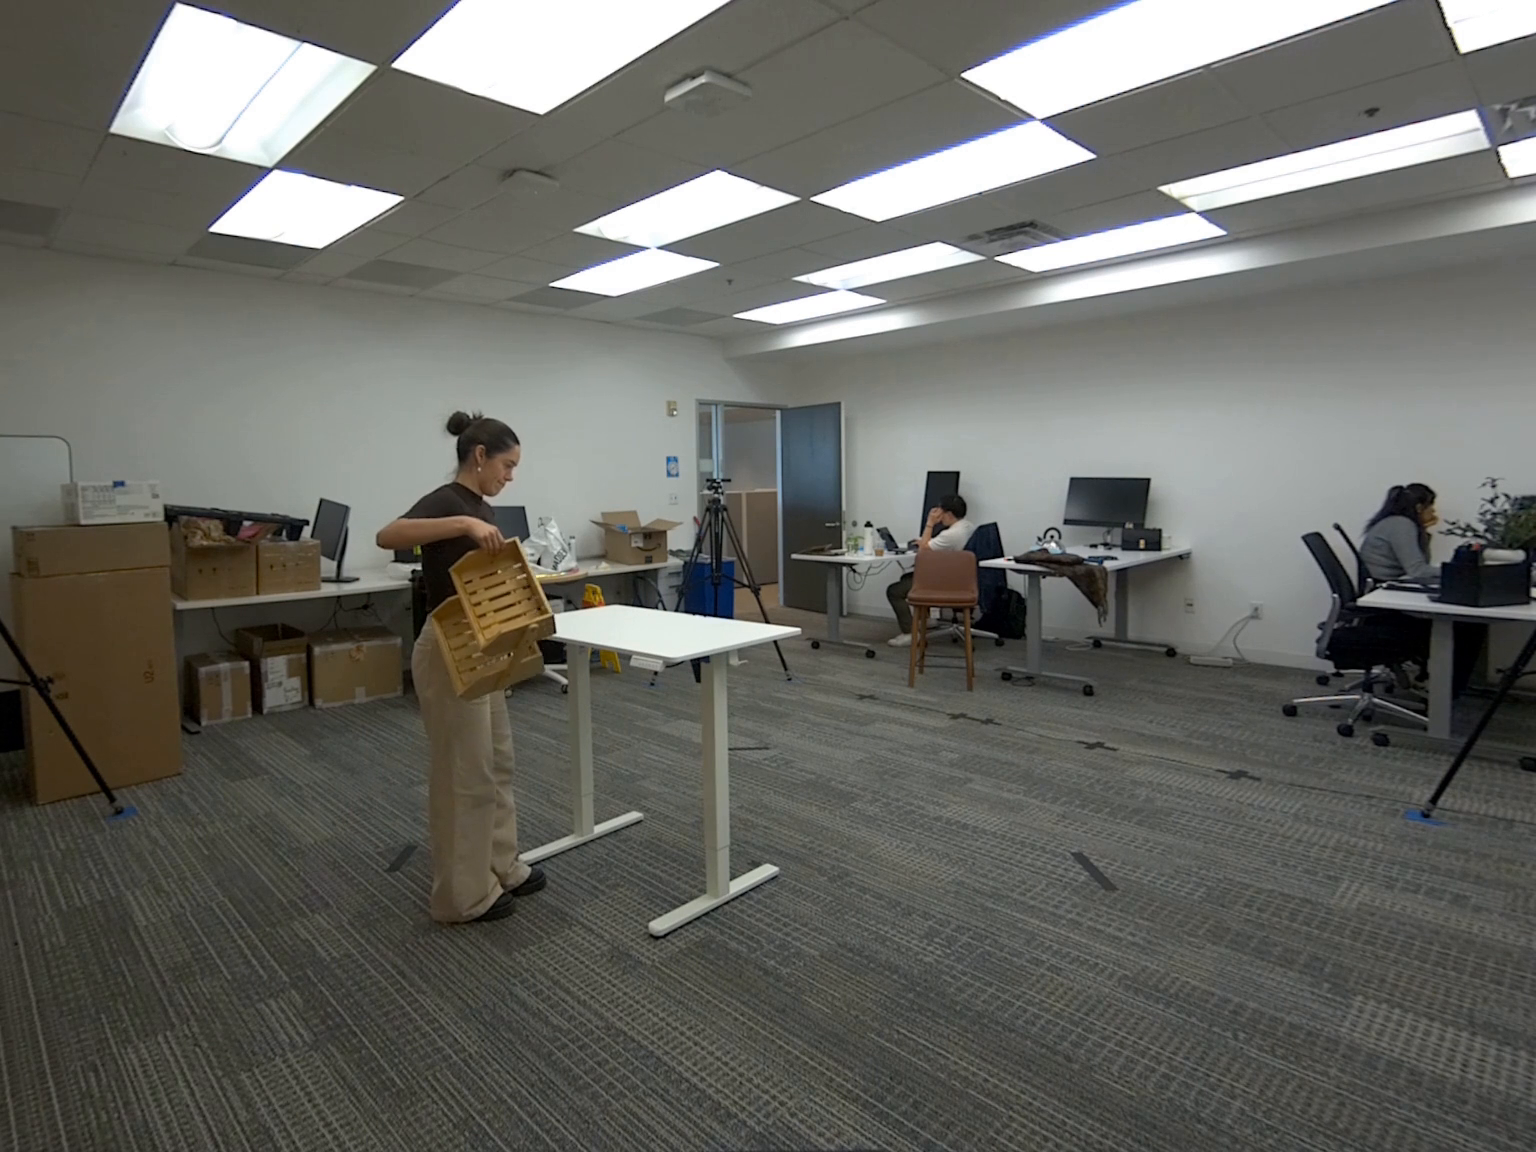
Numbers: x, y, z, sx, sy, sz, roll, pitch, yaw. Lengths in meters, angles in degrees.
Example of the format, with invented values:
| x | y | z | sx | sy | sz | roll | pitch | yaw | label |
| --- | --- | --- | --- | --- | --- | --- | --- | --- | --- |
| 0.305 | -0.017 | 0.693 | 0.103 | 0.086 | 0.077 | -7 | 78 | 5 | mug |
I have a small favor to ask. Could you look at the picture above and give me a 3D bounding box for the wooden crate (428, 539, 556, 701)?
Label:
| x | y | z | sx | sy | sz | roll | pitch | yaw | label |
| --- | --- | --- | --- | --- | --- | --- | --- | --- | --- |
| -0.786 | 0.129 | 2.427 | 0.298 | 0.336 | 0.267 | -21 | -34 | -21 | wooden crate |
